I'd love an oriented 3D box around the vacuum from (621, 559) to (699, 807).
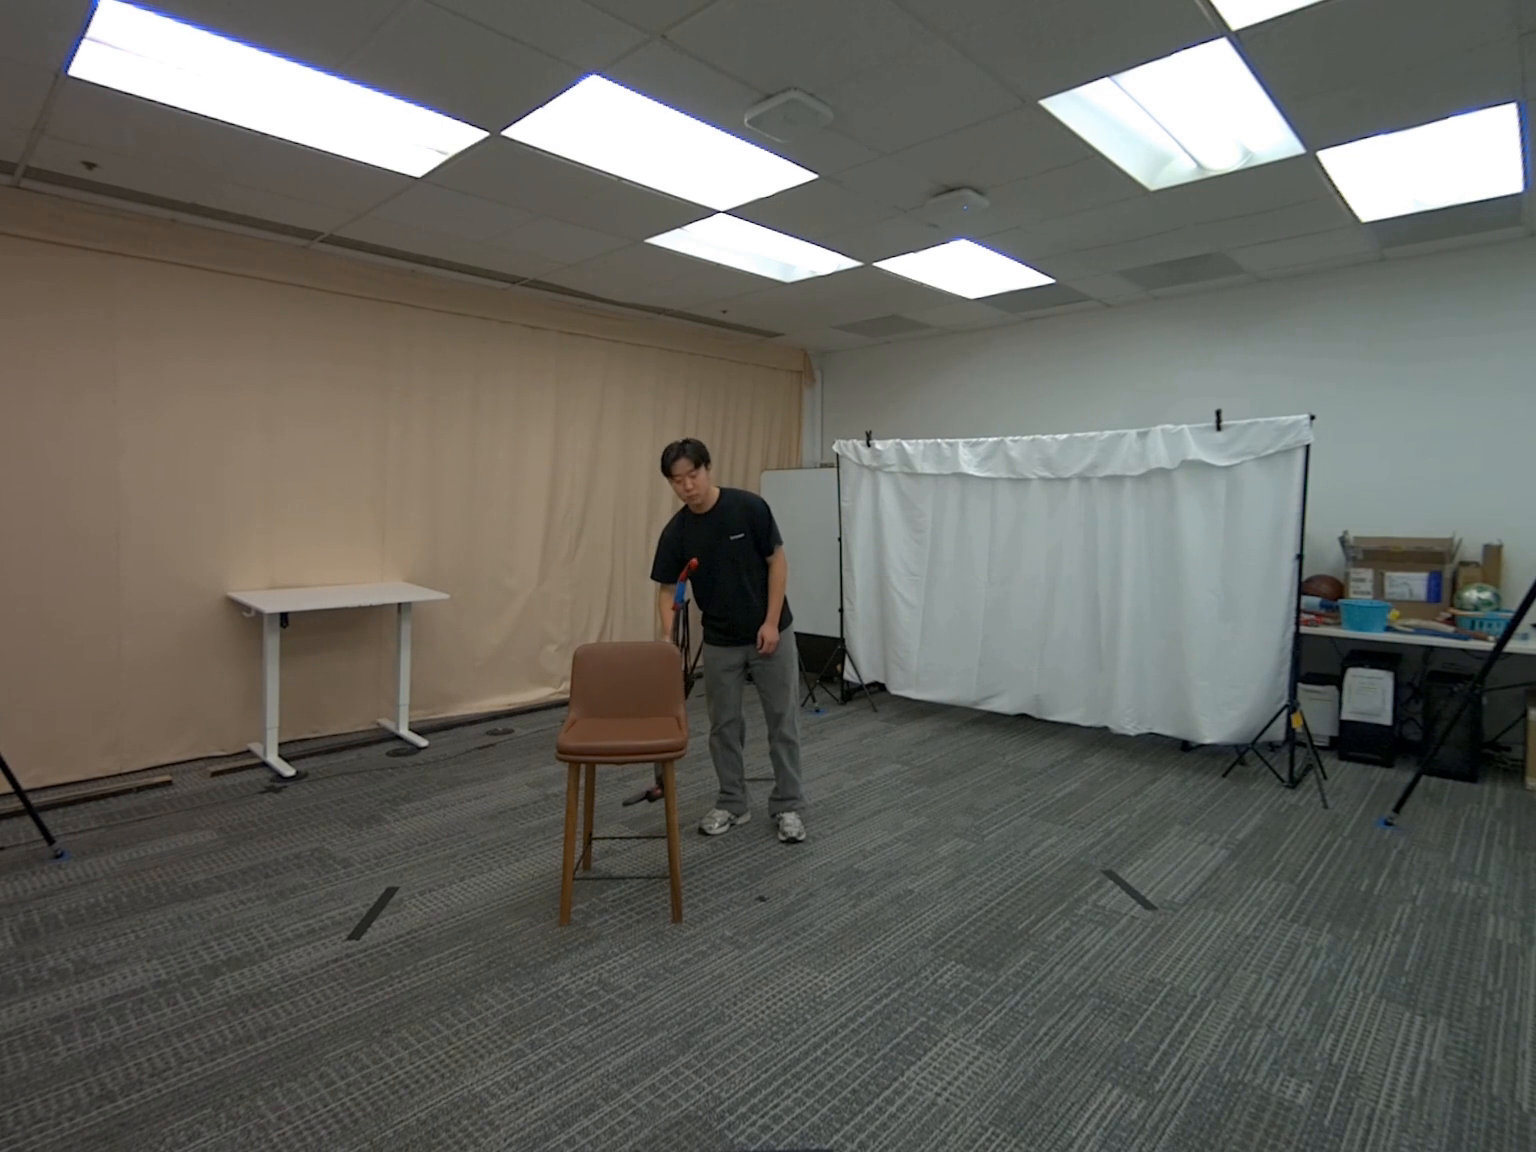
[{"bbox_3d":[-0.385,0.445,3.429,0.245,1.043,0.149,-3,20,-44],"label":"vacuum"}]
